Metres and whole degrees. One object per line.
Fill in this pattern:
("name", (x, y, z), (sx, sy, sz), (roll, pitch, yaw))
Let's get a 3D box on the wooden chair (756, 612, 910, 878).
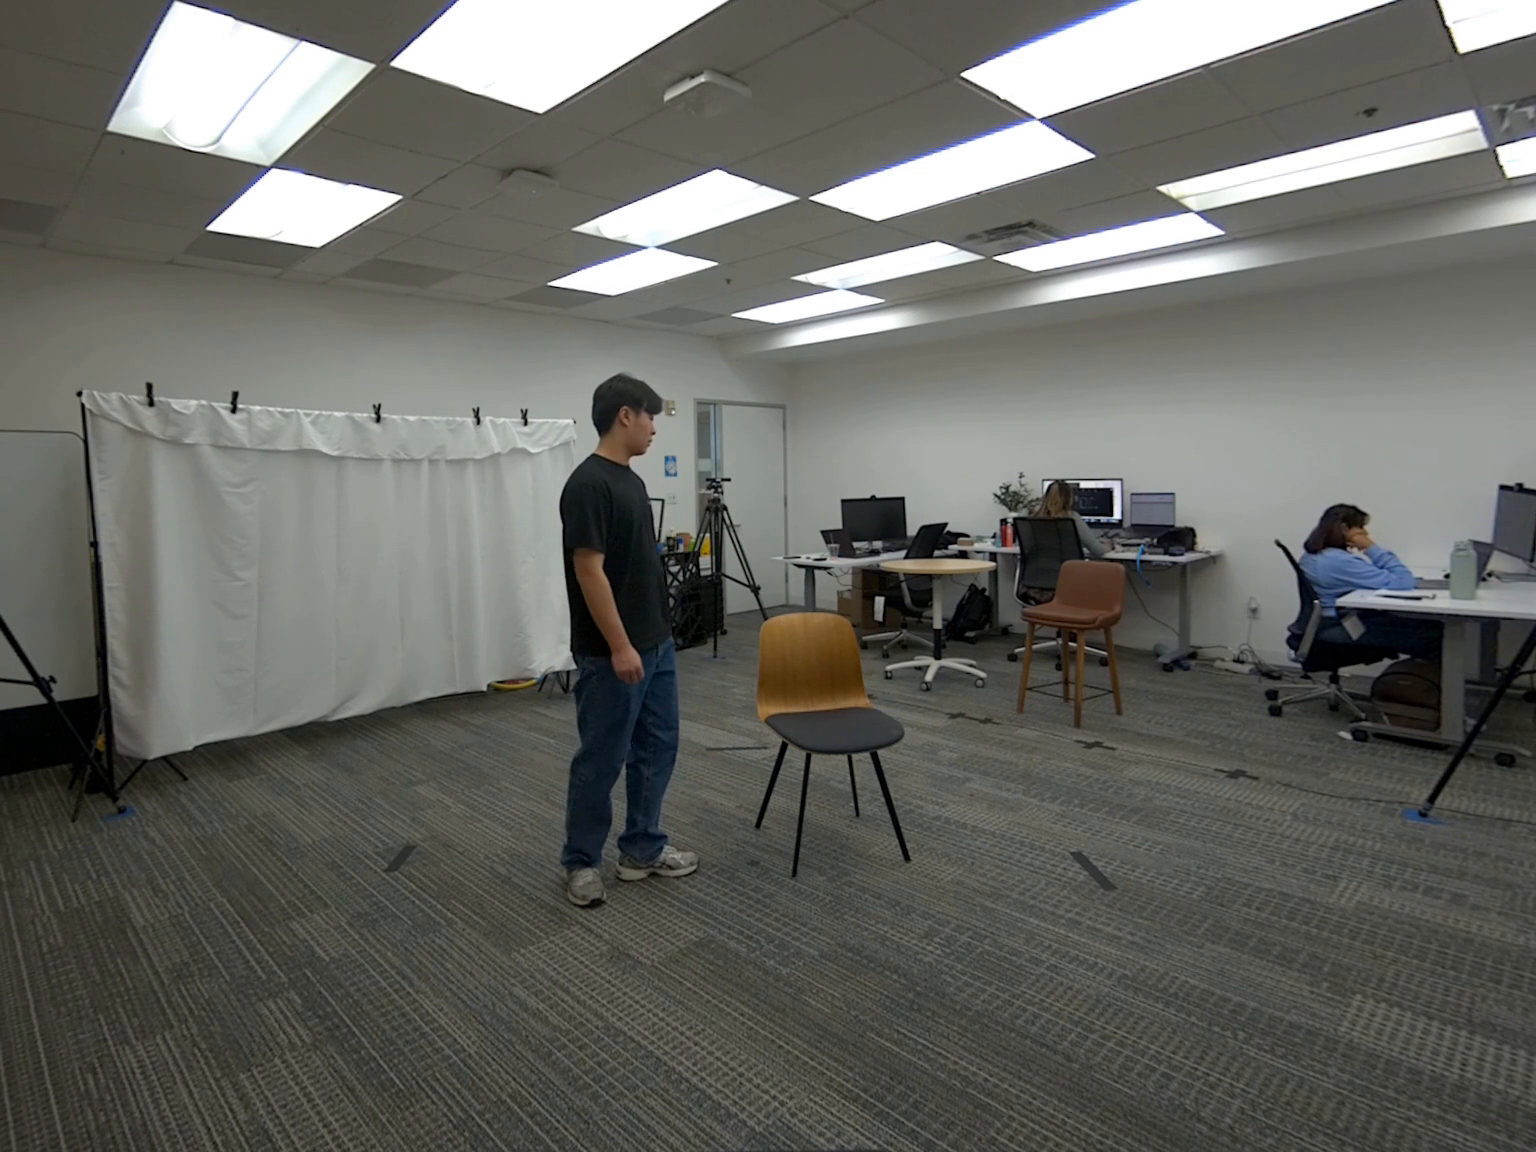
("wooden chair", (0.225, 0.596, 3.217), (0.471, 0.877, 0.531), (-2, 0, -17))
